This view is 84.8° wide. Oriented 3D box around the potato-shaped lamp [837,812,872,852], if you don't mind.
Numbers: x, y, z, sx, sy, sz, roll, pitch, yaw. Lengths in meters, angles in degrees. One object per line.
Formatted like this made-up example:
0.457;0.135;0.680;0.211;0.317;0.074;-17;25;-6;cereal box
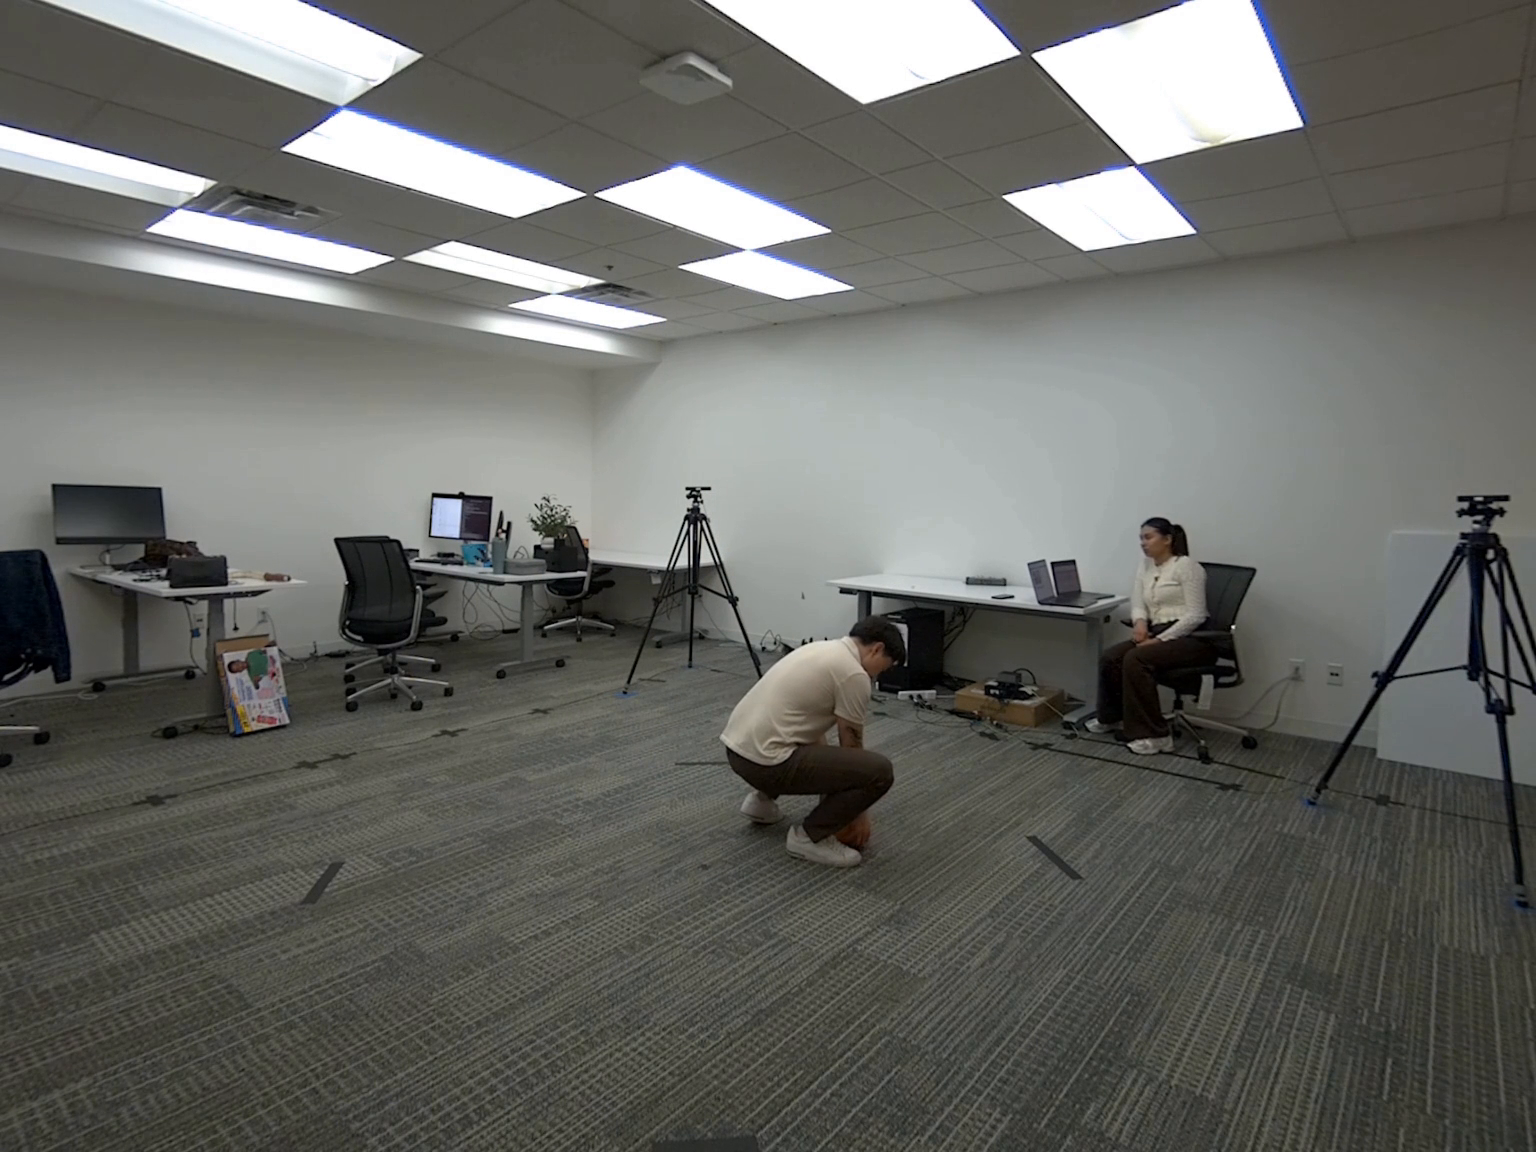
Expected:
0.300;0.952;3.381;0.167;0.197;0.169;-1;5;-25;potato-shaped lamp
